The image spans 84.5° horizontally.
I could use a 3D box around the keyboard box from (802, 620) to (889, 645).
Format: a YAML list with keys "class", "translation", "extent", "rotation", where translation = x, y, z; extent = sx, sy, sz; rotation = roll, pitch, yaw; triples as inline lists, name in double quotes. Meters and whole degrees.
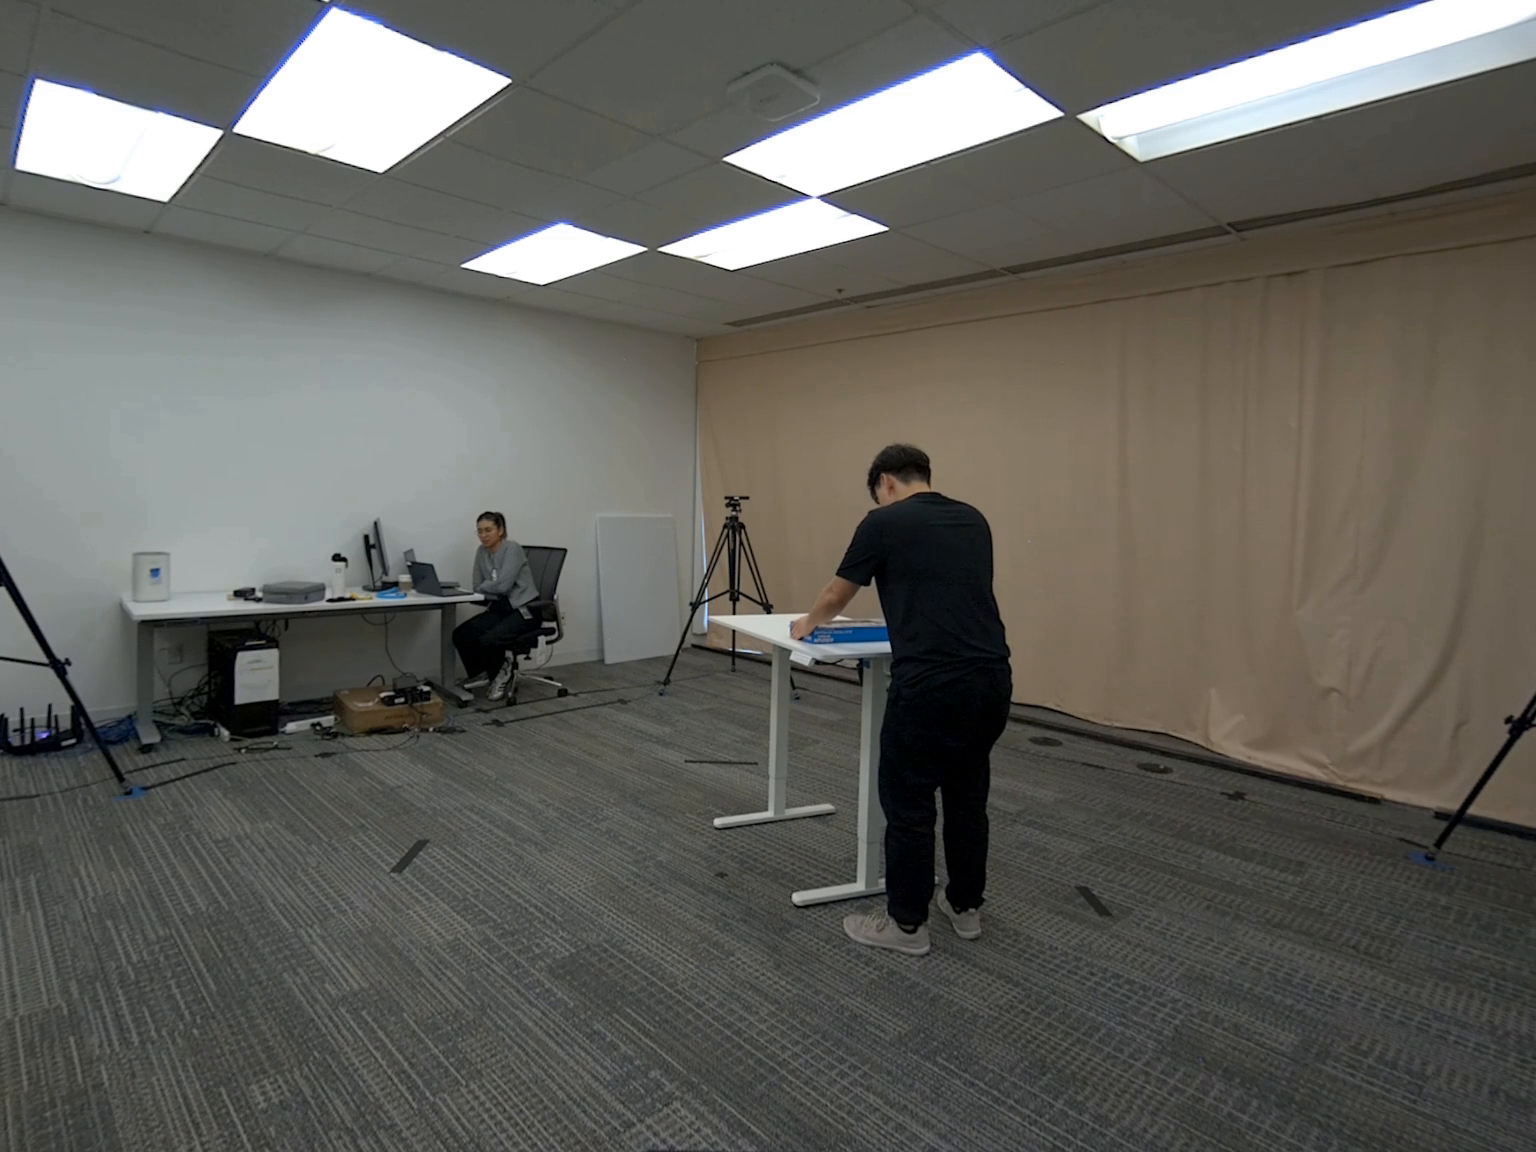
- class: "keyboard box"
  translation: [0.330, 0.206, 3.093]
  extent: [0.431, 0.059, 0.179]
  rotation: [-1, 5, -19]
